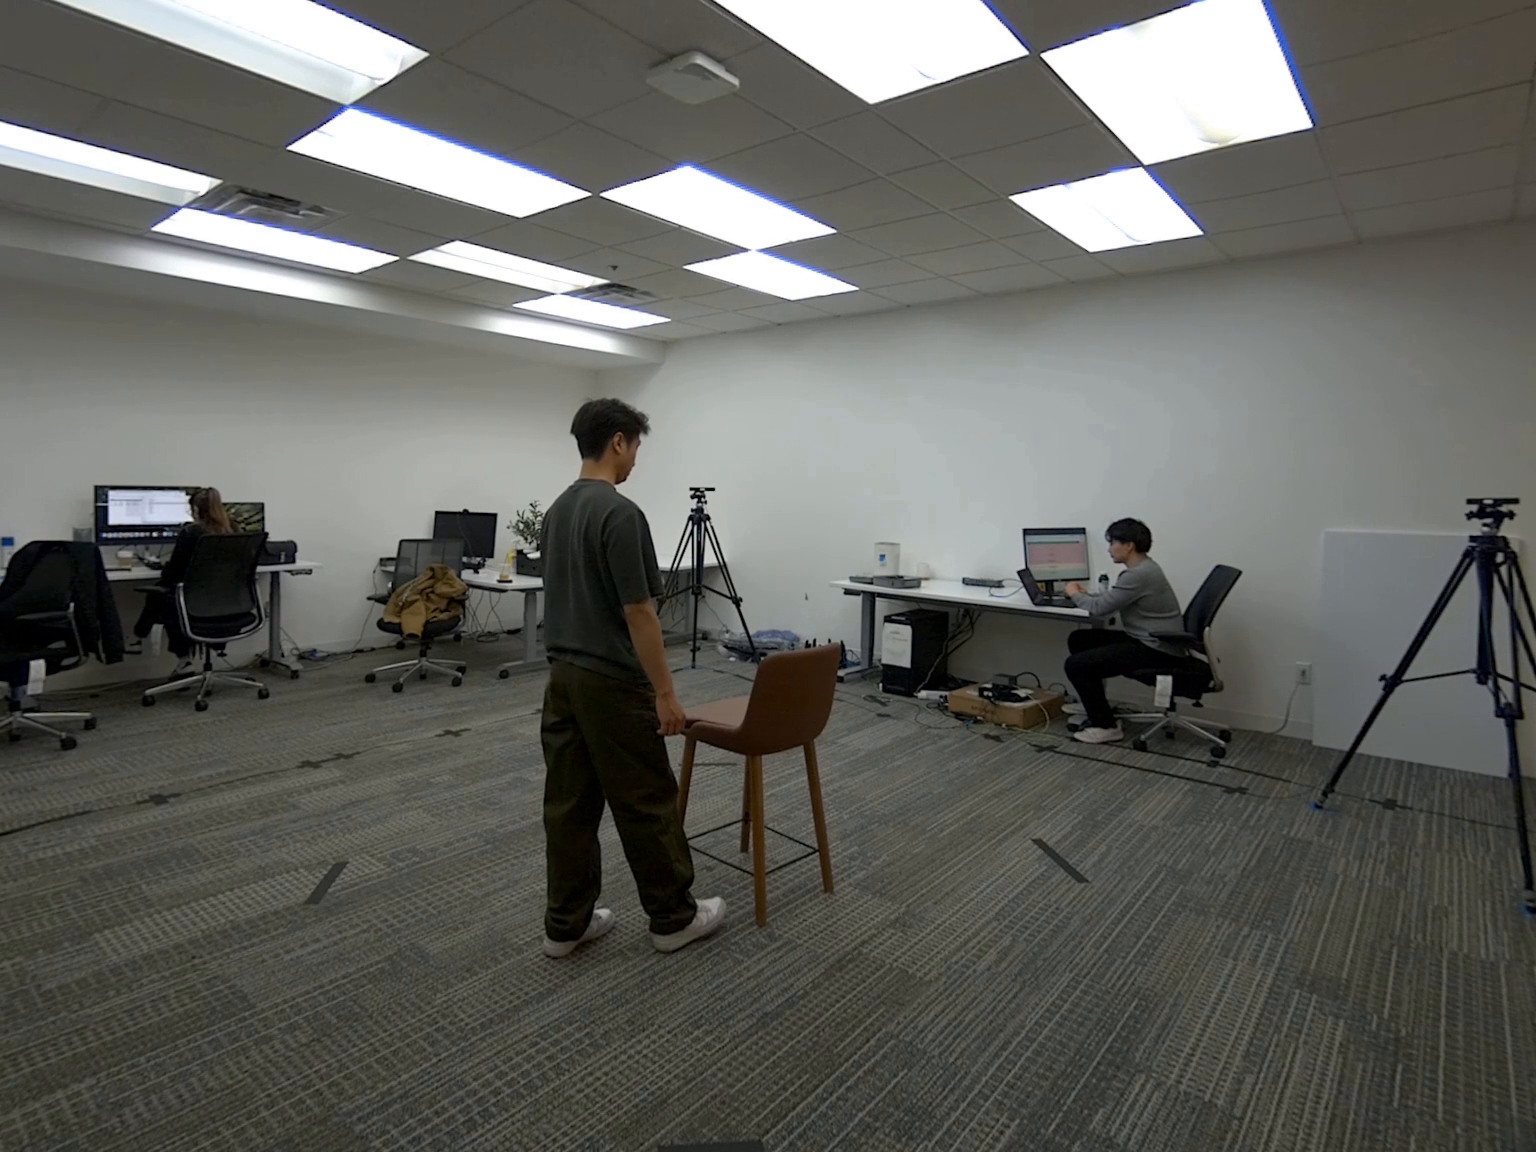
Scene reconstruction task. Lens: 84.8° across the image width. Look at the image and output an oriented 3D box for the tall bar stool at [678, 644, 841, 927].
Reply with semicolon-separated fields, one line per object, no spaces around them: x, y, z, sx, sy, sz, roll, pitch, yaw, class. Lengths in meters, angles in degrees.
-0.052;0.647;2.963;0.484;0.886;0.442;7;6;44;tall bar stool
